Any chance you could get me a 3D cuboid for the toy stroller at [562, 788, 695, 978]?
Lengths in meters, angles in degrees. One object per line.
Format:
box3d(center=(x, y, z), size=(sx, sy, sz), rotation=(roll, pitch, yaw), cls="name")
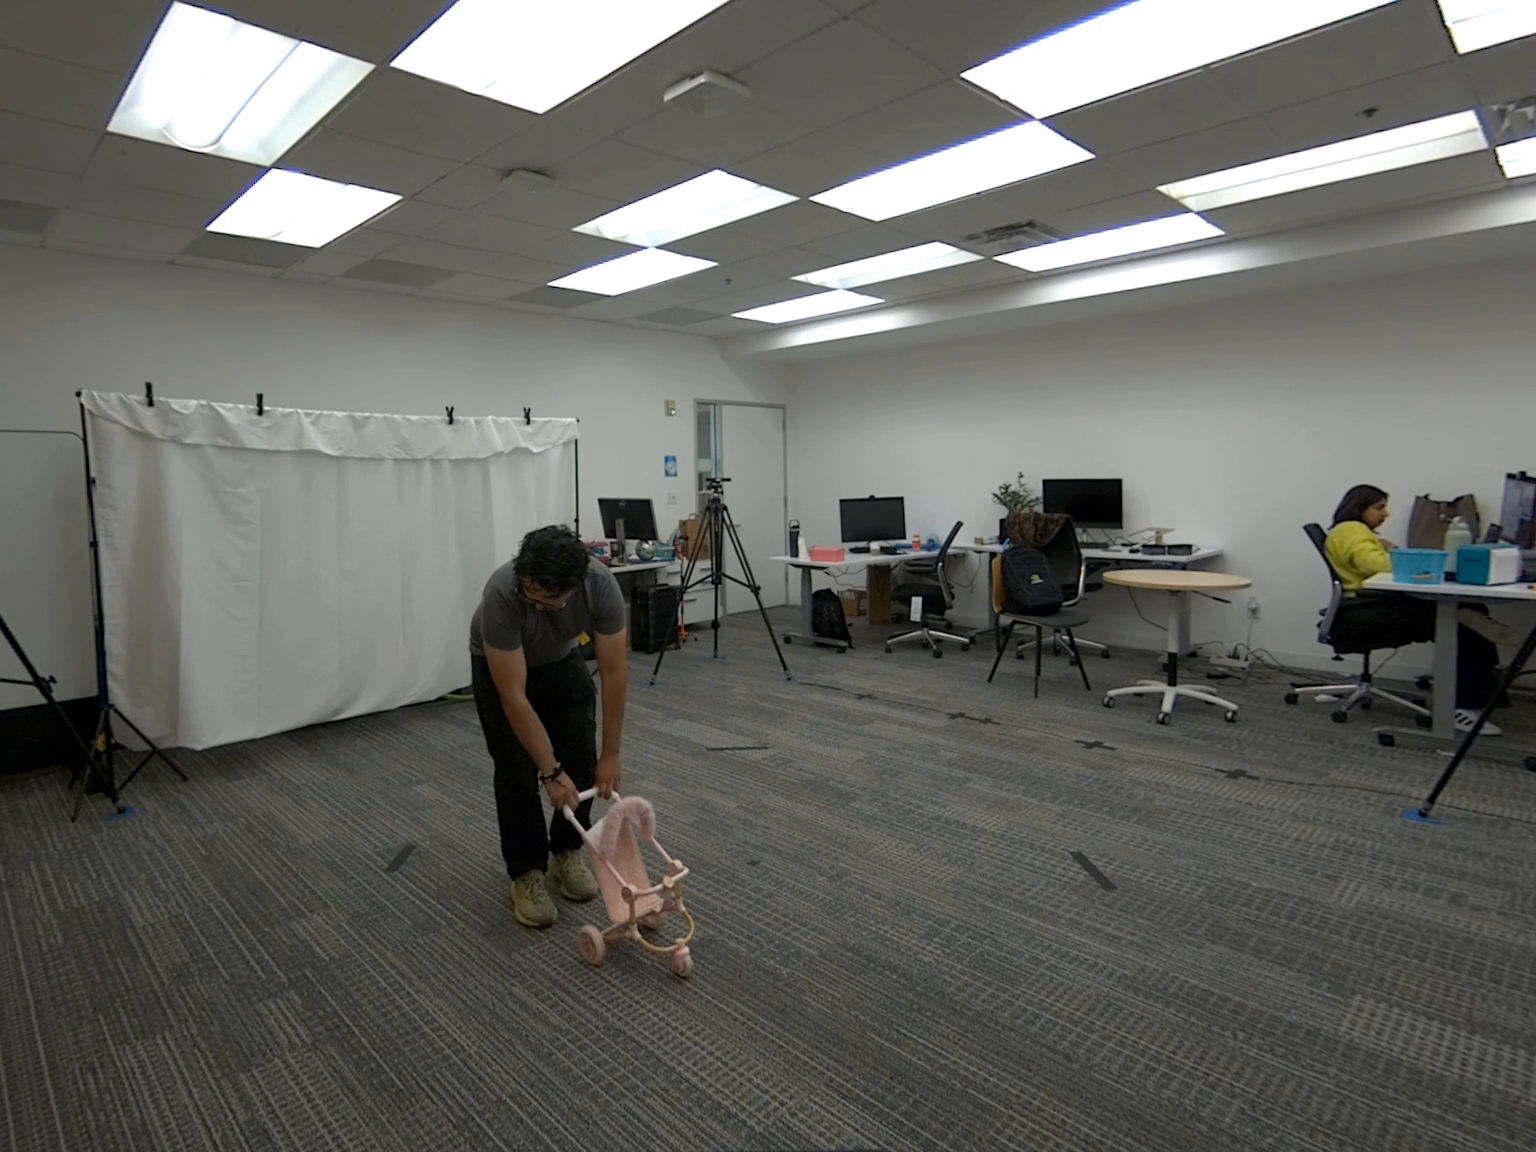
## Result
box3d(center=(-0.387, 0.894, 2.520), size=(0.347, 0.539, 0.274), rotation=(-19, -9, 43), cls="toy stroller")
